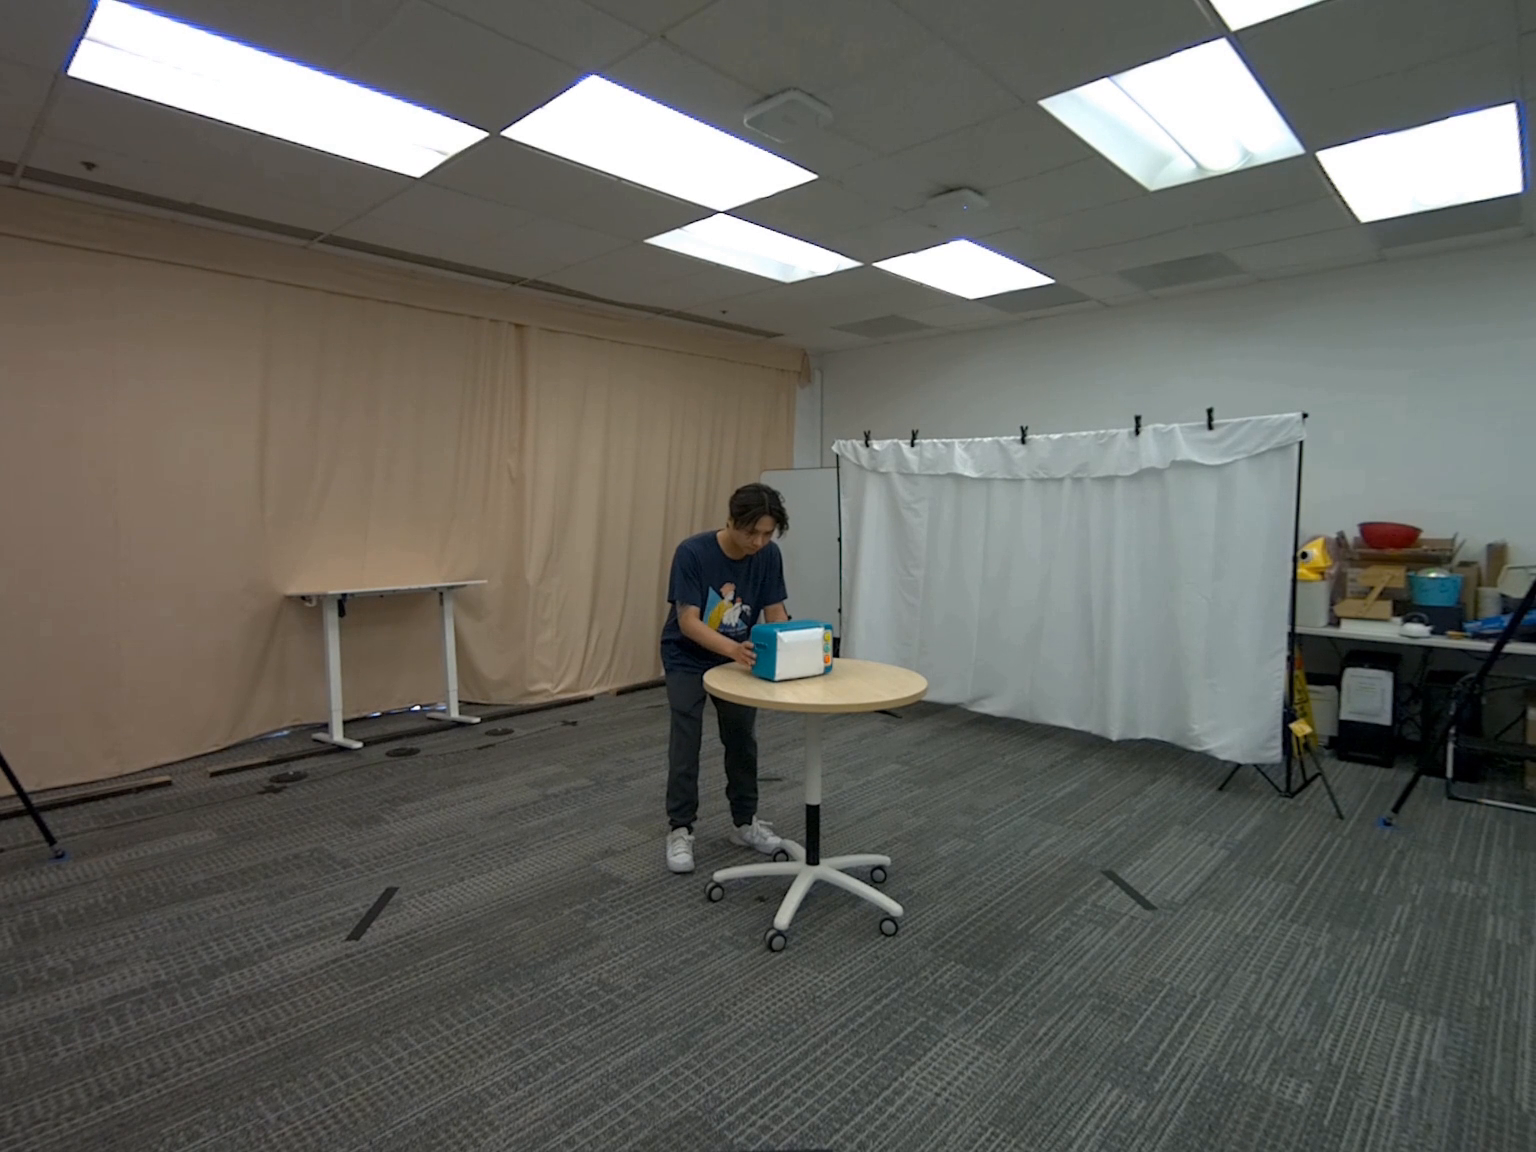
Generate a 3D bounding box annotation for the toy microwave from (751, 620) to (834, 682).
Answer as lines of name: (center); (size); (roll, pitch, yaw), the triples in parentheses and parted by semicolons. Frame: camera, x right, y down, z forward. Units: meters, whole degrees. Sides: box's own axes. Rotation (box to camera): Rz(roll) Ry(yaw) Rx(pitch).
toy microwave: (0.093, 0.256, 2.927); (0.278, 0.183, 0.157); (-3, 6, -36)
